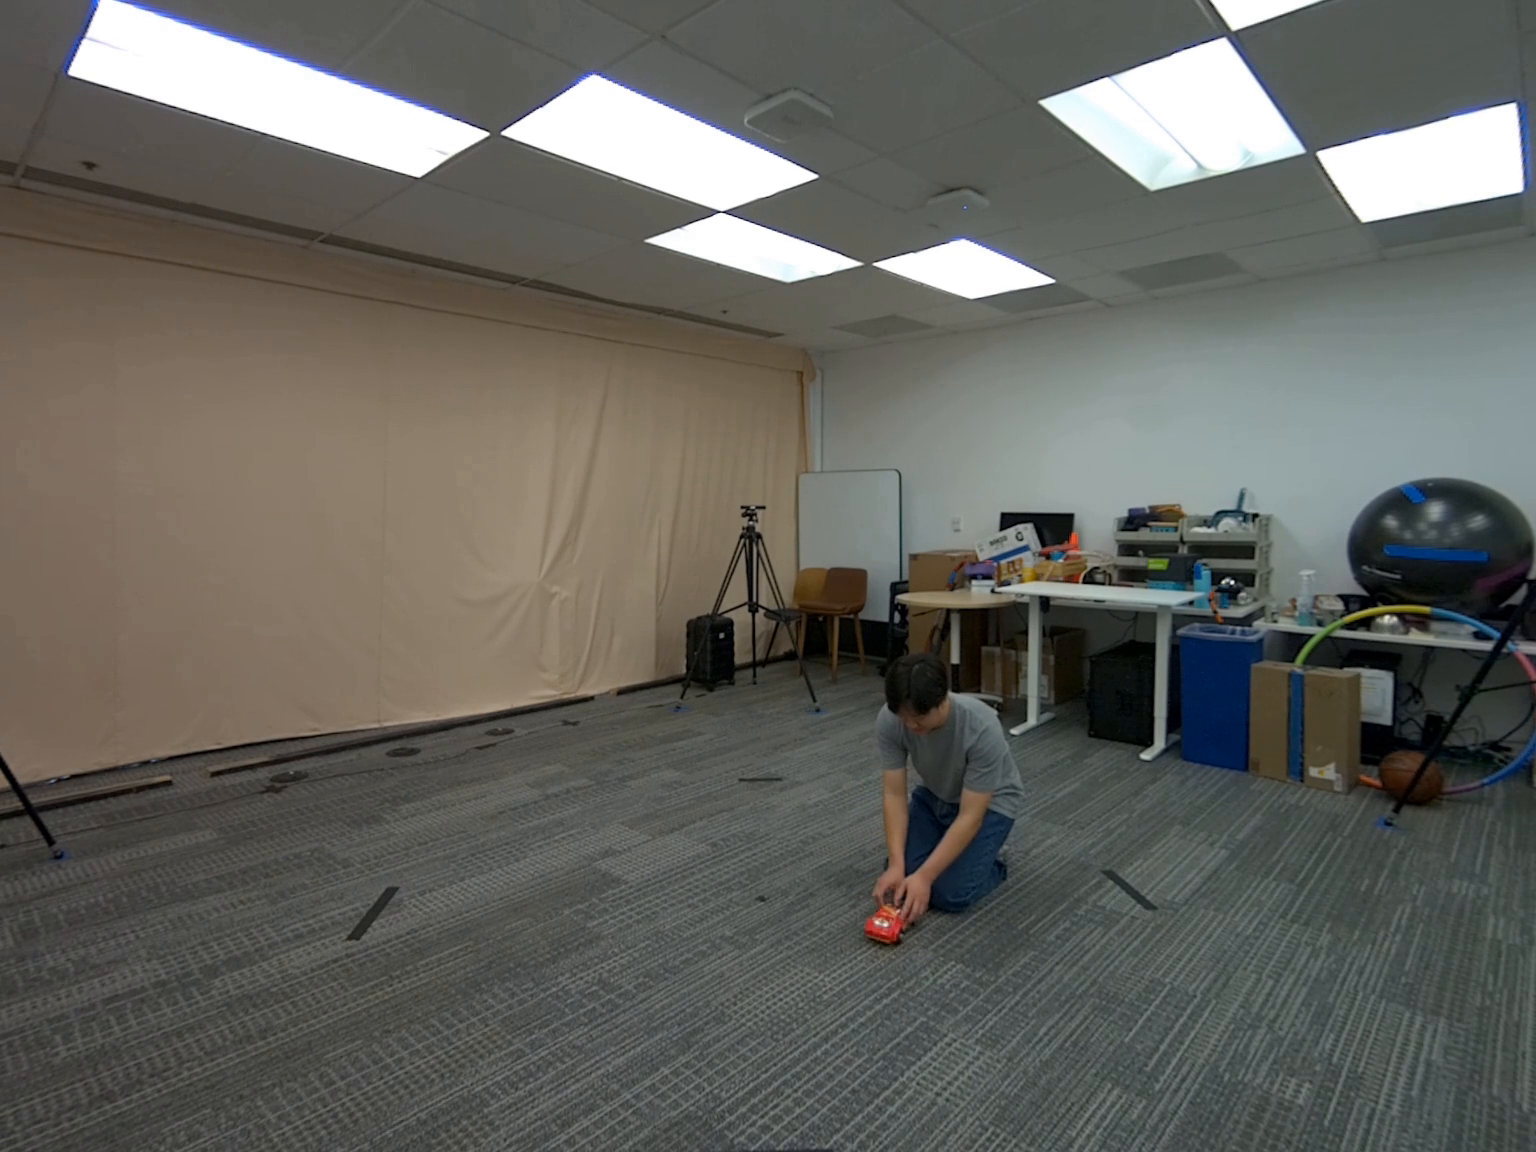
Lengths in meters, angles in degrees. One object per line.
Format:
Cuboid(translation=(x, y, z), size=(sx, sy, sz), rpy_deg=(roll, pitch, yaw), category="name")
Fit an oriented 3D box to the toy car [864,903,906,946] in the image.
Cuboid(translation=(0.399, 1.133, 2.738), size=(0.134, 0.083, 0.246), rpy_deg=(5, -8, 33), category="toy car")
